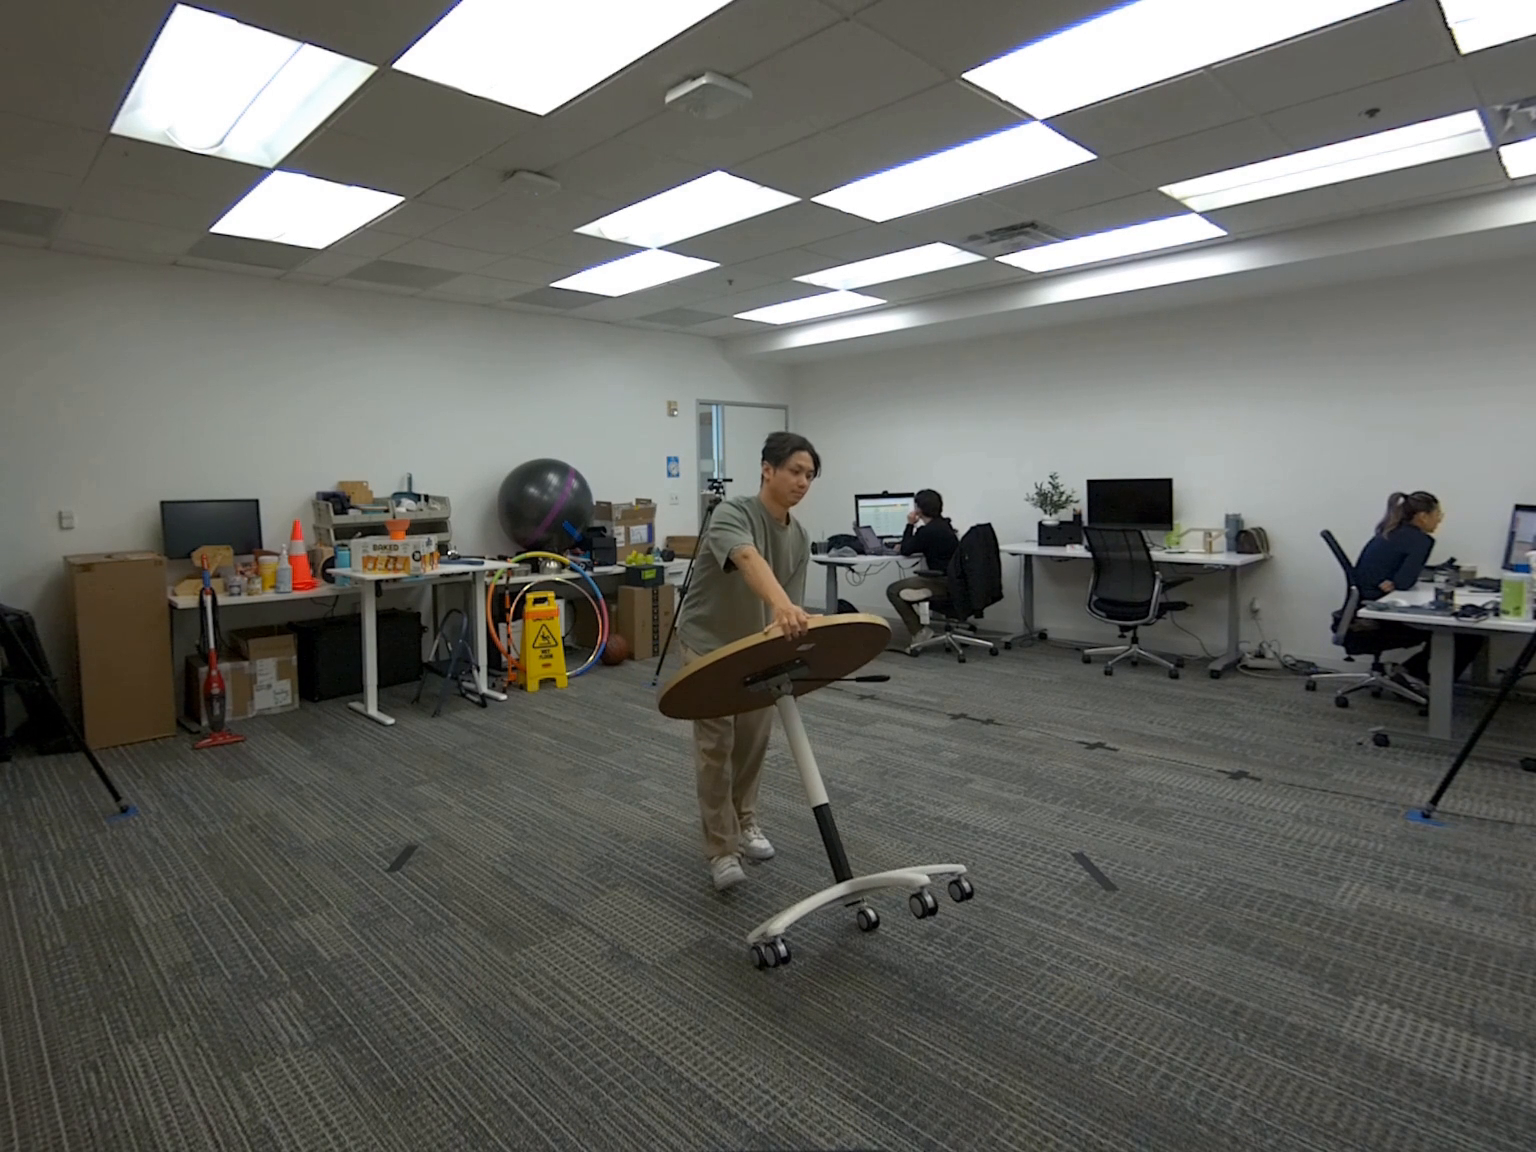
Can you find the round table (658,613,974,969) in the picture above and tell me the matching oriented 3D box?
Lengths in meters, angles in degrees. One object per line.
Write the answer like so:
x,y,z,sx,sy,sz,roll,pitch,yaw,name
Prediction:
0.136,0.638,2.506,0.781,0.807,0.769,-14,-23,-8,round table
